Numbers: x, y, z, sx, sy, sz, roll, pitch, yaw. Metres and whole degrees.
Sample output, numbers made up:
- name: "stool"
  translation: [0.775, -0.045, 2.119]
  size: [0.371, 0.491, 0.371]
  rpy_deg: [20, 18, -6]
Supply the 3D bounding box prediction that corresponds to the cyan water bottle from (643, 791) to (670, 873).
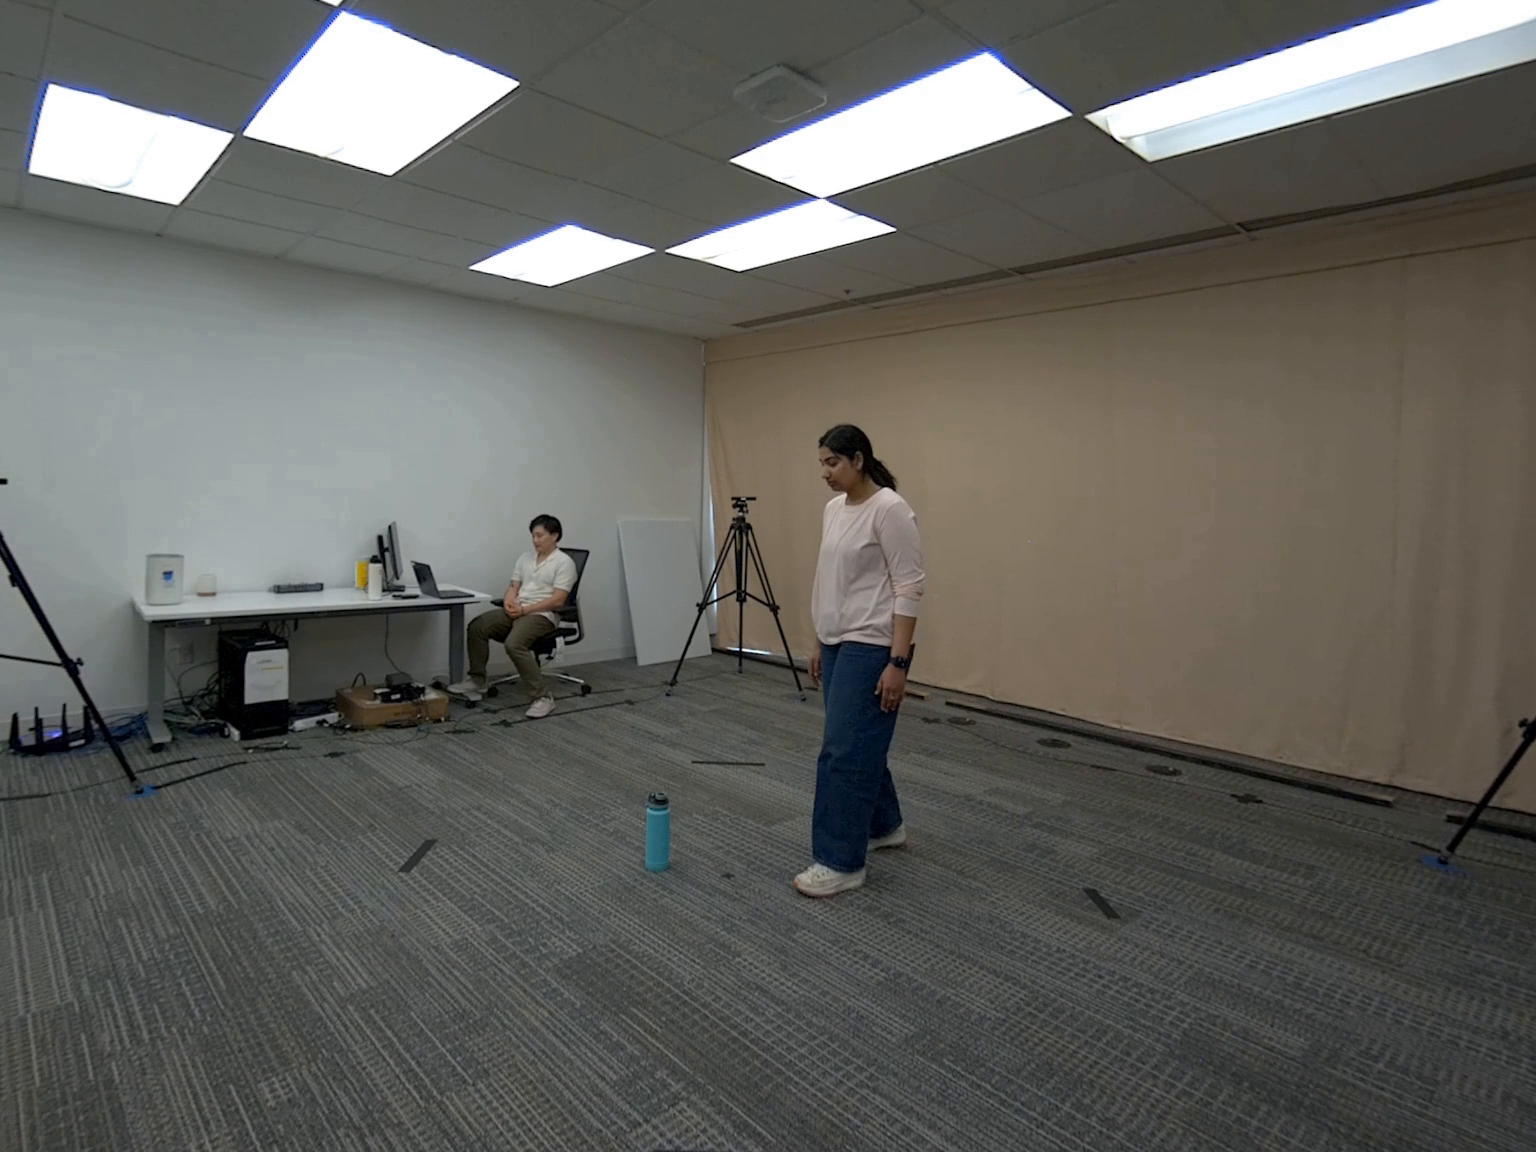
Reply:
- name: "cyan water bottle"
  translation: [-0.417, 0.952, 3.167]
  size: [0.092, 0.283, 0.092]
  rpy_deg: [0, 2, -1]
